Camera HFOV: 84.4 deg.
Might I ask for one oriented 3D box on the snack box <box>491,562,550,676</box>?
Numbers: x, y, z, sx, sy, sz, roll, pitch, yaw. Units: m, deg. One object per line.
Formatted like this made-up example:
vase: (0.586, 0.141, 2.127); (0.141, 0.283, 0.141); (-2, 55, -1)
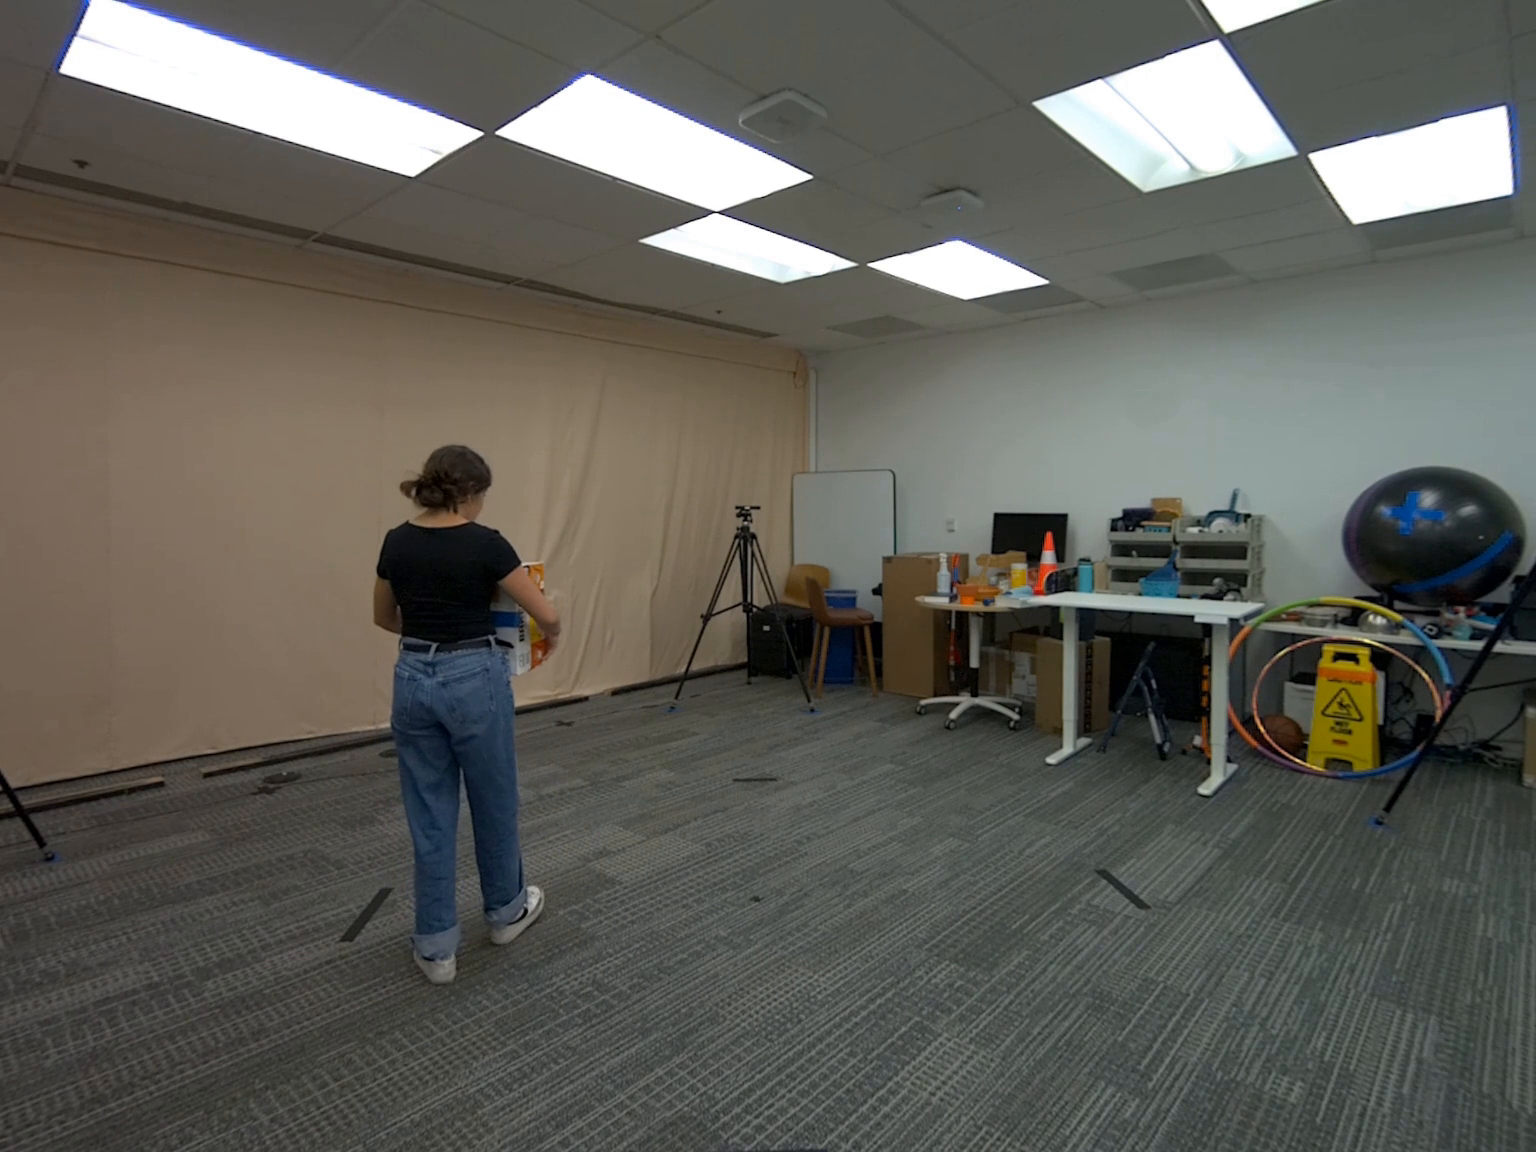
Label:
snack box: (-0.956, 0.126, 2.733); (0.410, 0.340, 0.203); (0, 3, 12)
